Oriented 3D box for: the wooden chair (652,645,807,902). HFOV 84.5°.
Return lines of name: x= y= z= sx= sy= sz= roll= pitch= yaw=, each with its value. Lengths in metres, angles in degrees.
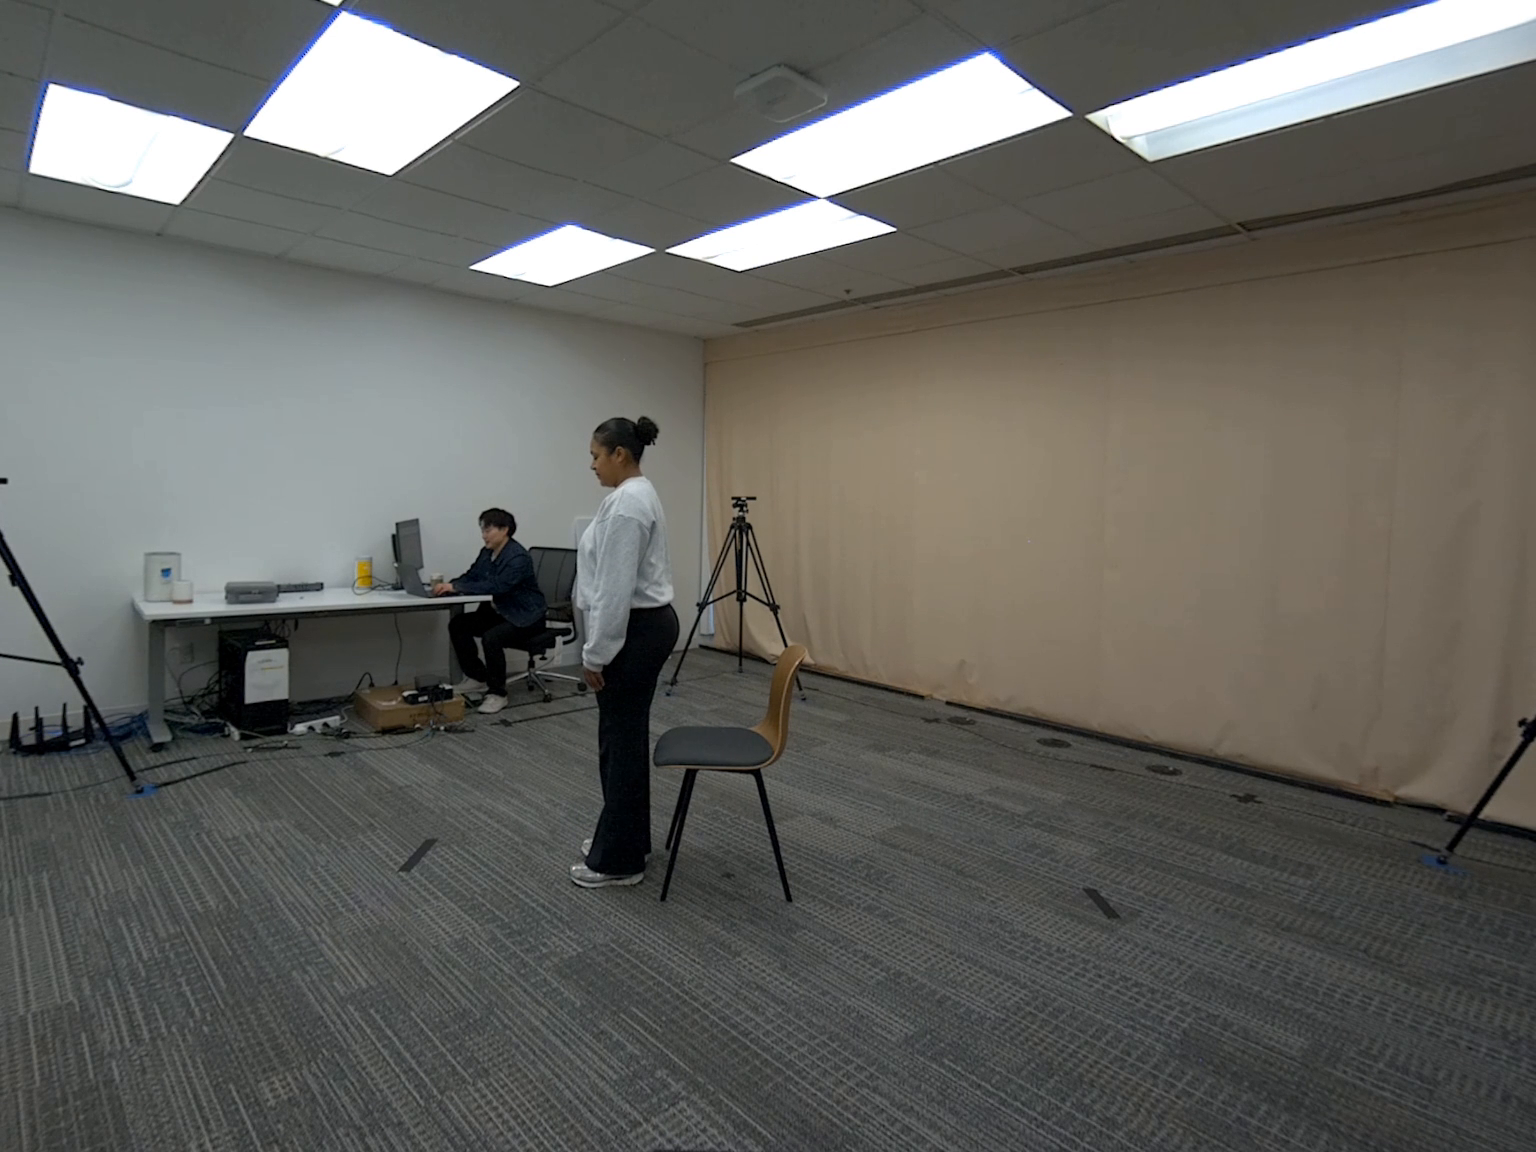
wooden chair: x=-0.161 y=0.676 z=3.089 sx=0.521 sy=0.875 sz=0.481 roll=5 pitch=4 yaw=-5
